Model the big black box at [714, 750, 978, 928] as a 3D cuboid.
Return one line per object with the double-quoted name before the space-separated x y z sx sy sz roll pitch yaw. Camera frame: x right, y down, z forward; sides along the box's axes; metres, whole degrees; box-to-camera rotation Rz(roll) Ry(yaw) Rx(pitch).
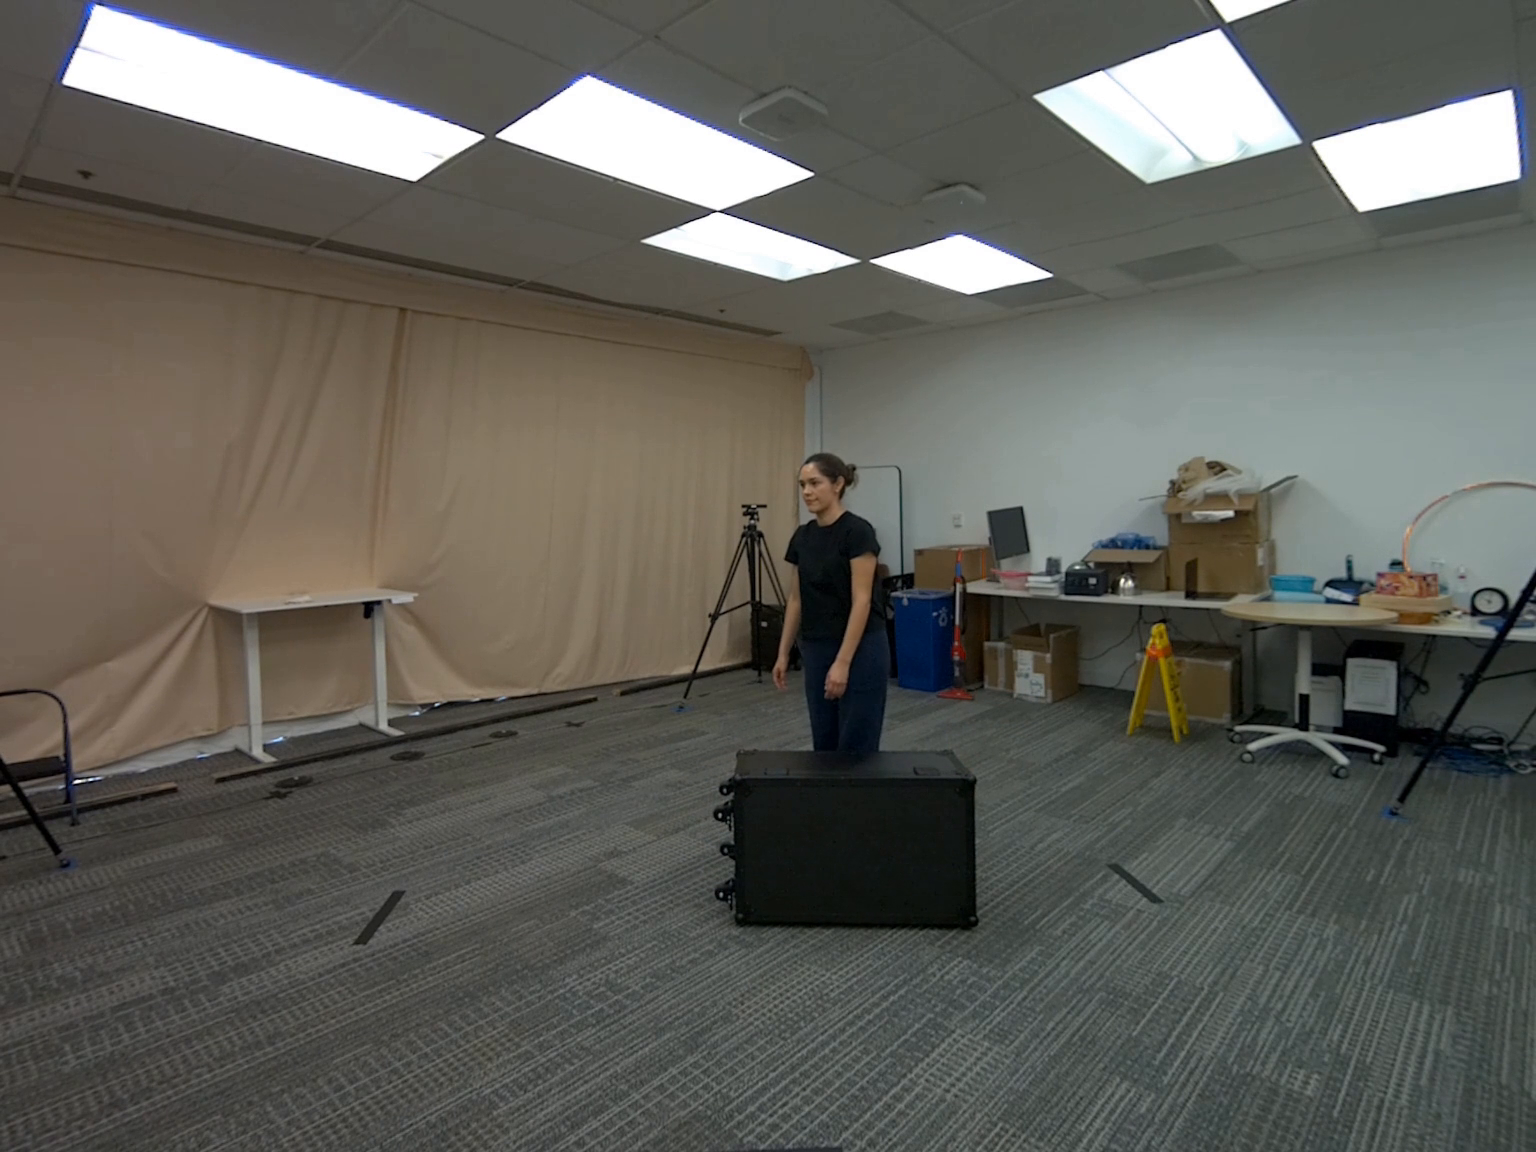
"big black box" 0.269 0.882 2.934 0.864 0.521 0.395 -1 1 3
